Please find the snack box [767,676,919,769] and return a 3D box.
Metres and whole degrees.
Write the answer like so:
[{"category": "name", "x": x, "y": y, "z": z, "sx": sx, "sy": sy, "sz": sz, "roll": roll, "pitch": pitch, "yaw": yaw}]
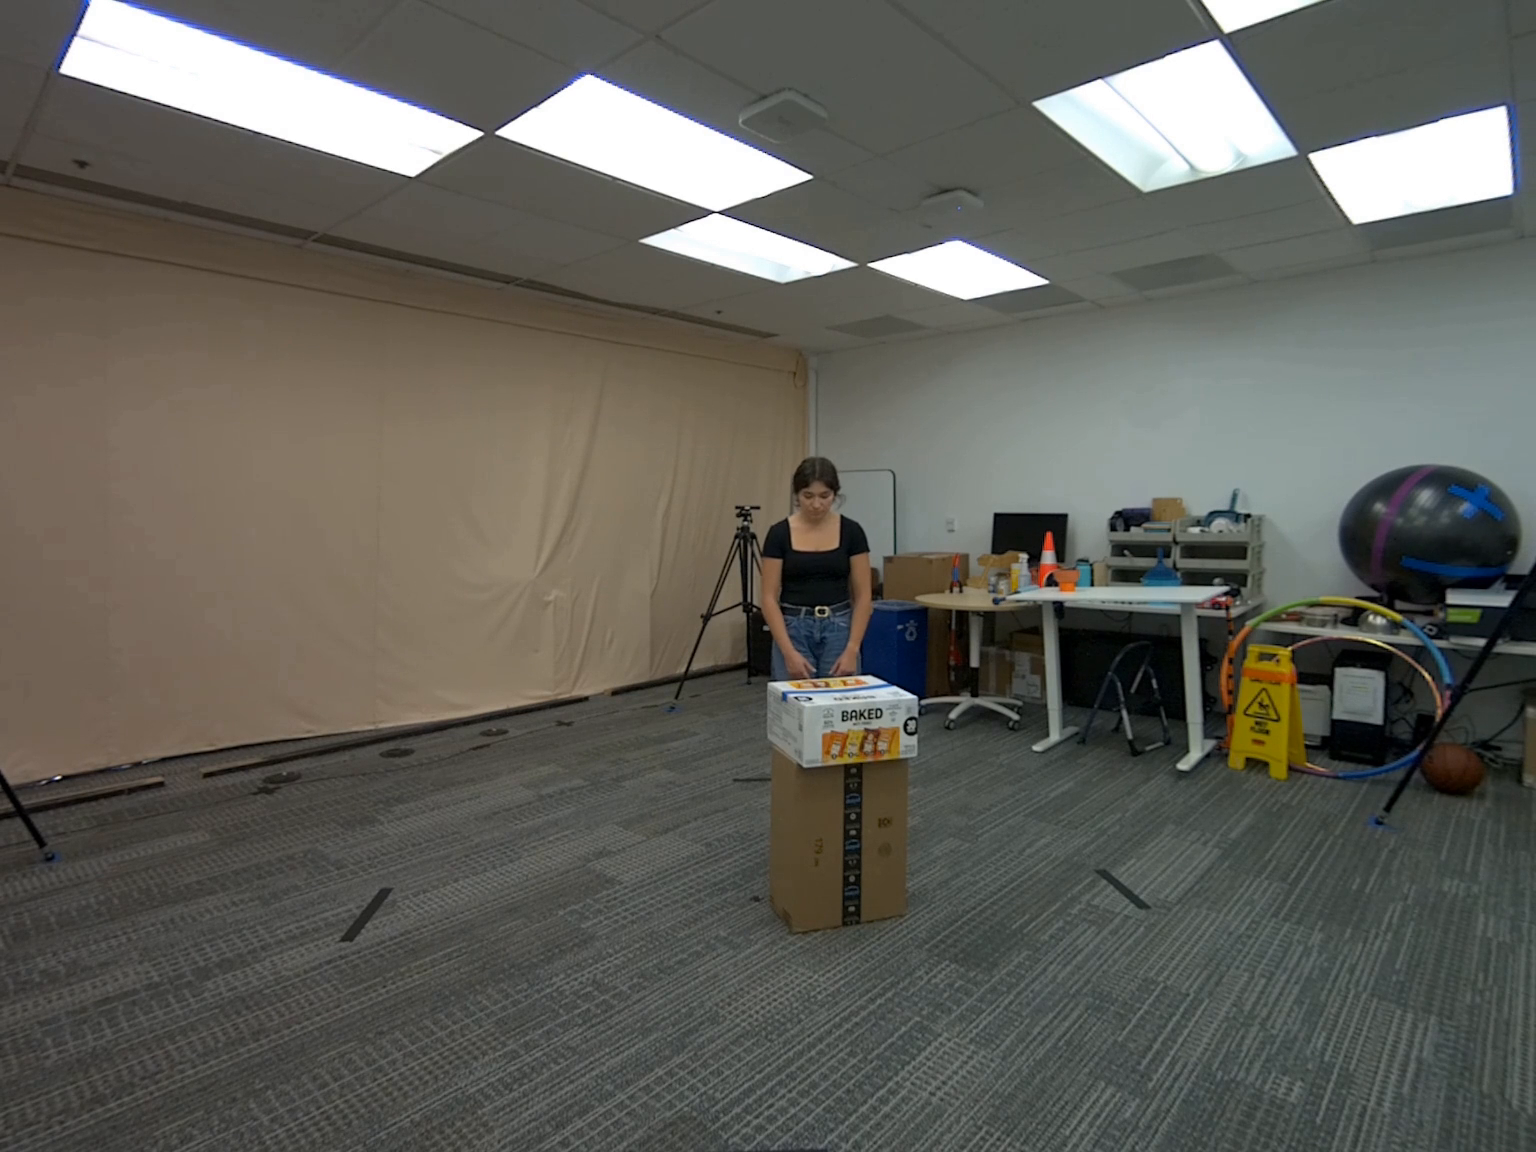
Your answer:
[{"category": "snack box", "x": 0.246, "y": 0.483, "z": 2.865, "sx": 0.398, "sy": 0.205, "sz": 0.347, "roll": -2, "pitch": 5, "yaw": -18}]
